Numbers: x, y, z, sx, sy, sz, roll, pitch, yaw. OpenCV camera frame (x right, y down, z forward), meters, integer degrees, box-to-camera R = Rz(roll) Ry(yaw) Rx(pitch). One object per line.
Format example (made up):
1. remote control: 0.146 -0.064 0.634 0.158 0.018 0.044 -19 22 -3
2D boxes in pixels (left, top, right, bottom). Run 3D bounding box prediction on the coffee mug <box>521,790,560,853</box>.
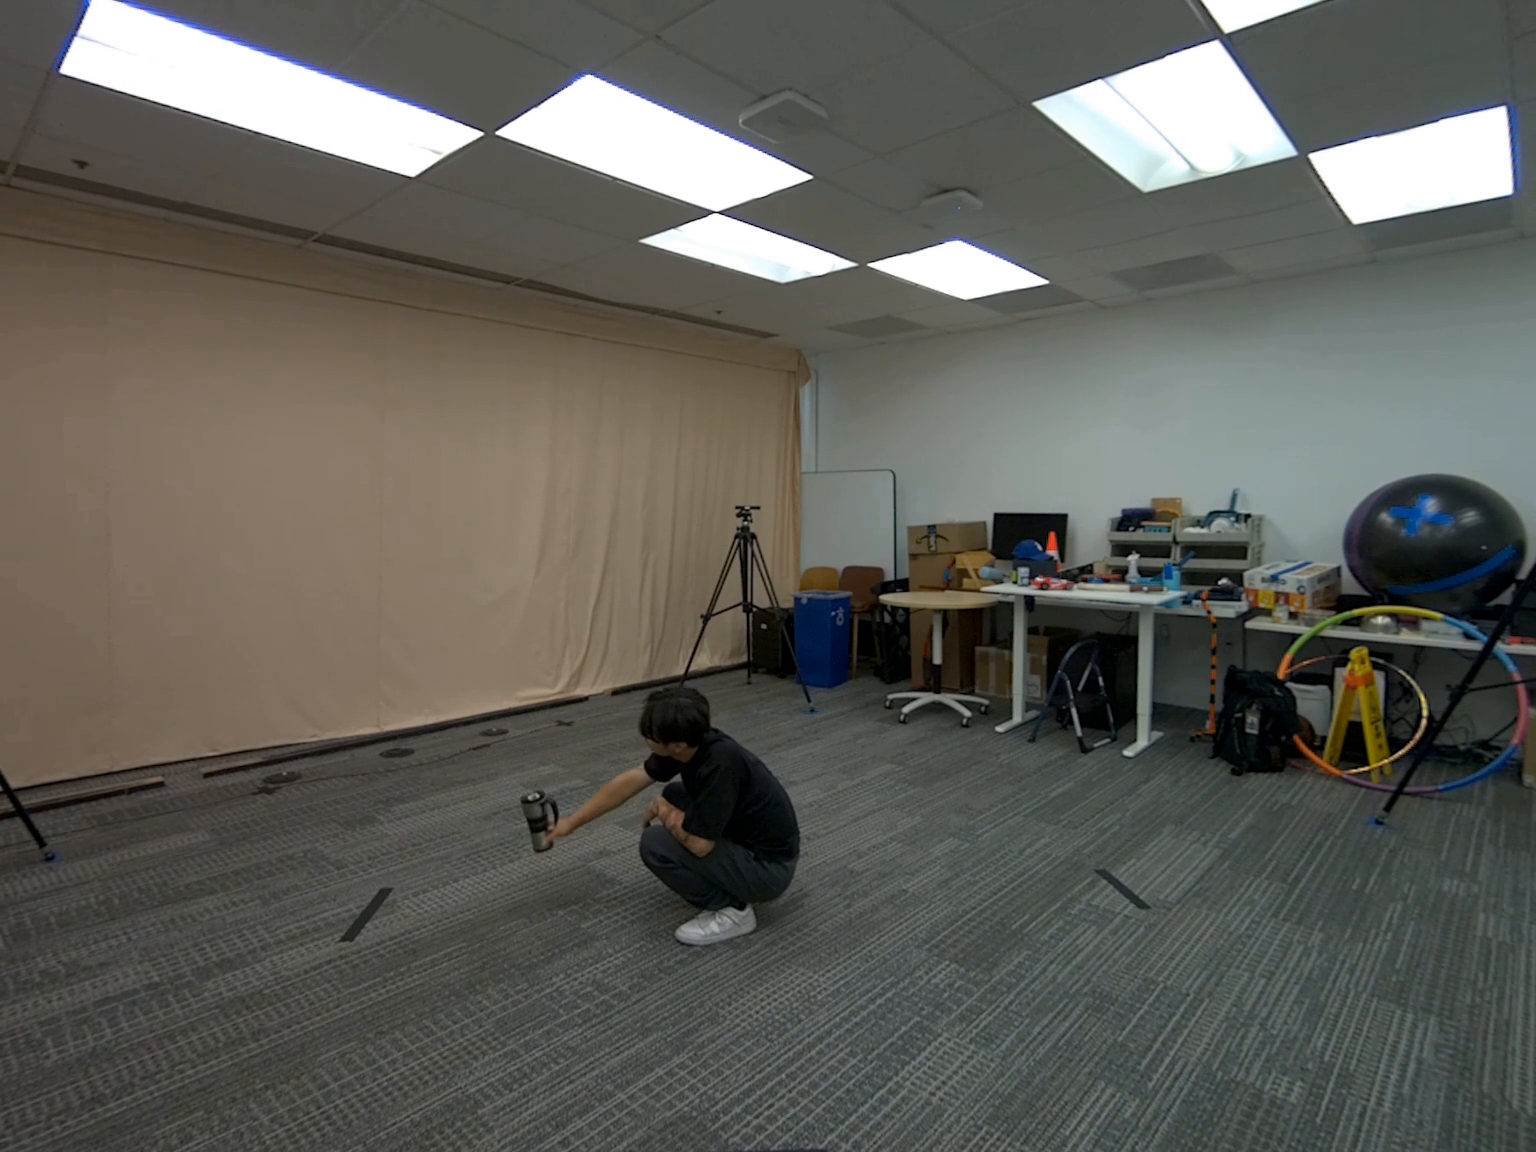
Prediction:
1. coffee mug: -0.788 0.857 2.932 0.126 0.202 0.085 -1 9 41
